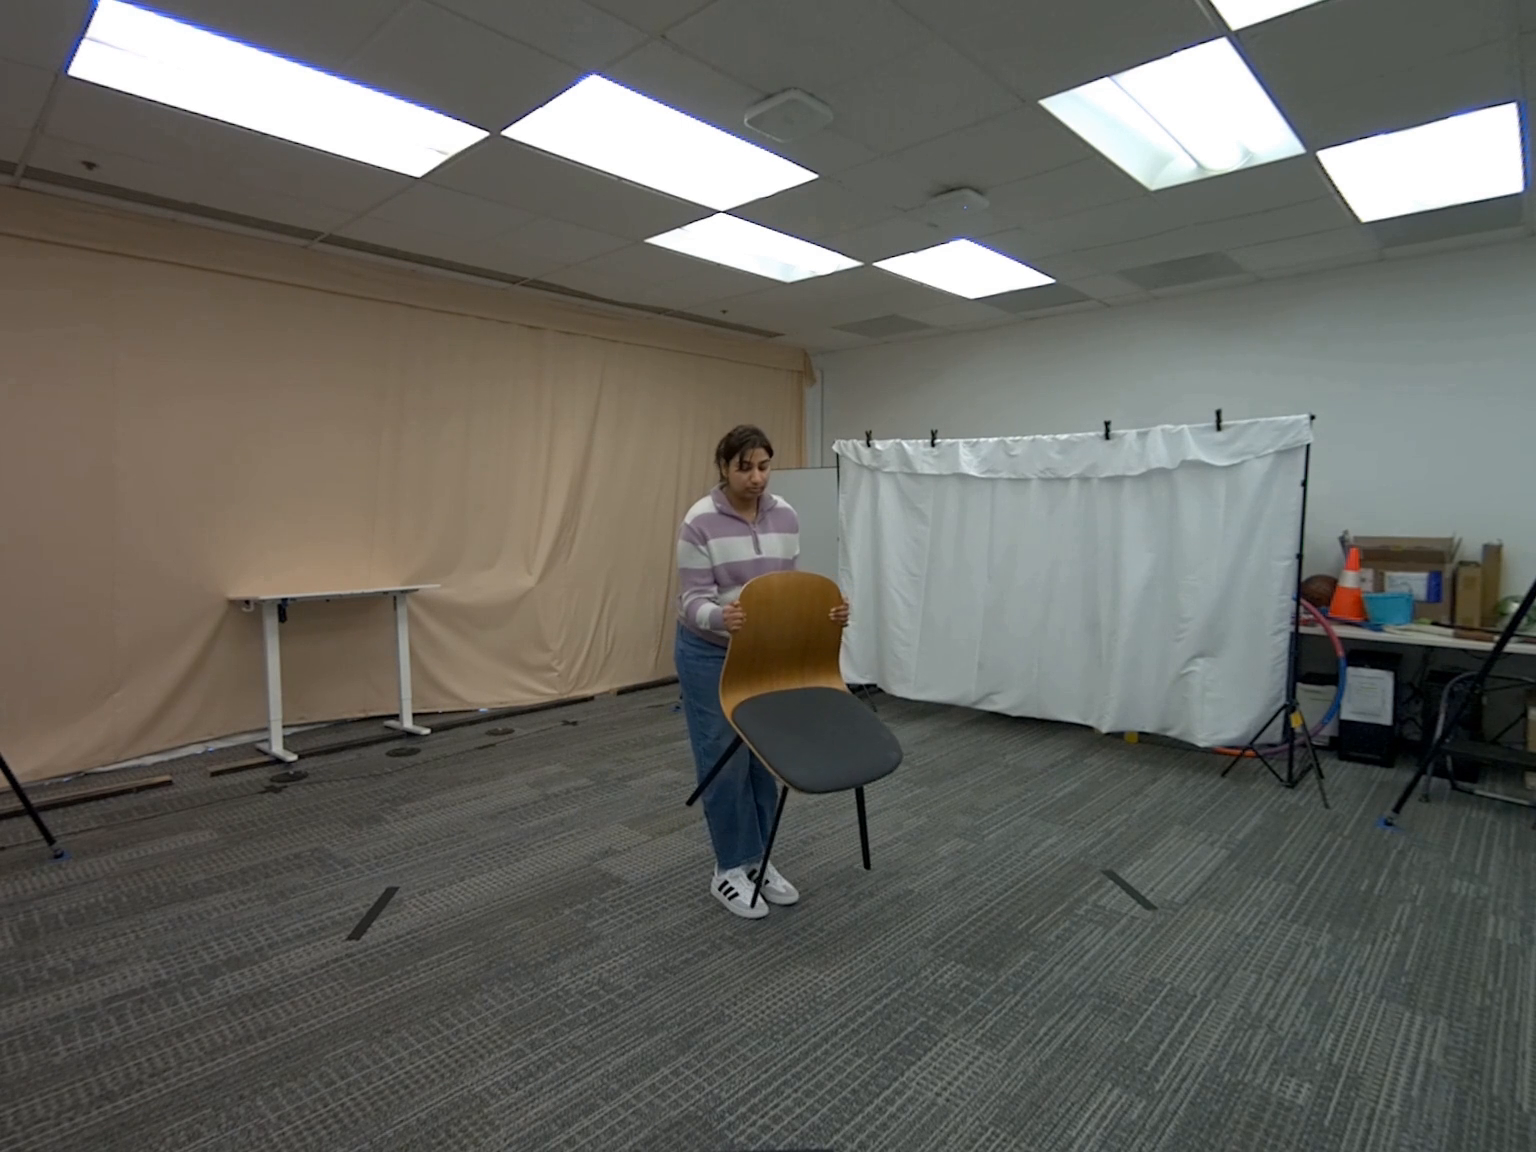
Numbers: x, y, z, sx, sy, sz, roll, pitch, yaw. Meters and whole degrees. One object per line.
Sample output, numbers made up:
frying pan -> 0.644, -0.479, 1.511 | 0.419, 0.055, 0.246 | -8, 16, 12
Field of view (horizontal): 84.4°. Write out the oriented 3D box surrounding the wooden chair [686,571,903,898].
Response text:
wooden chair -> 0.123, 0.493, 2.590 | 0.465, 0.869, 0.542 | -5, 26, -32
